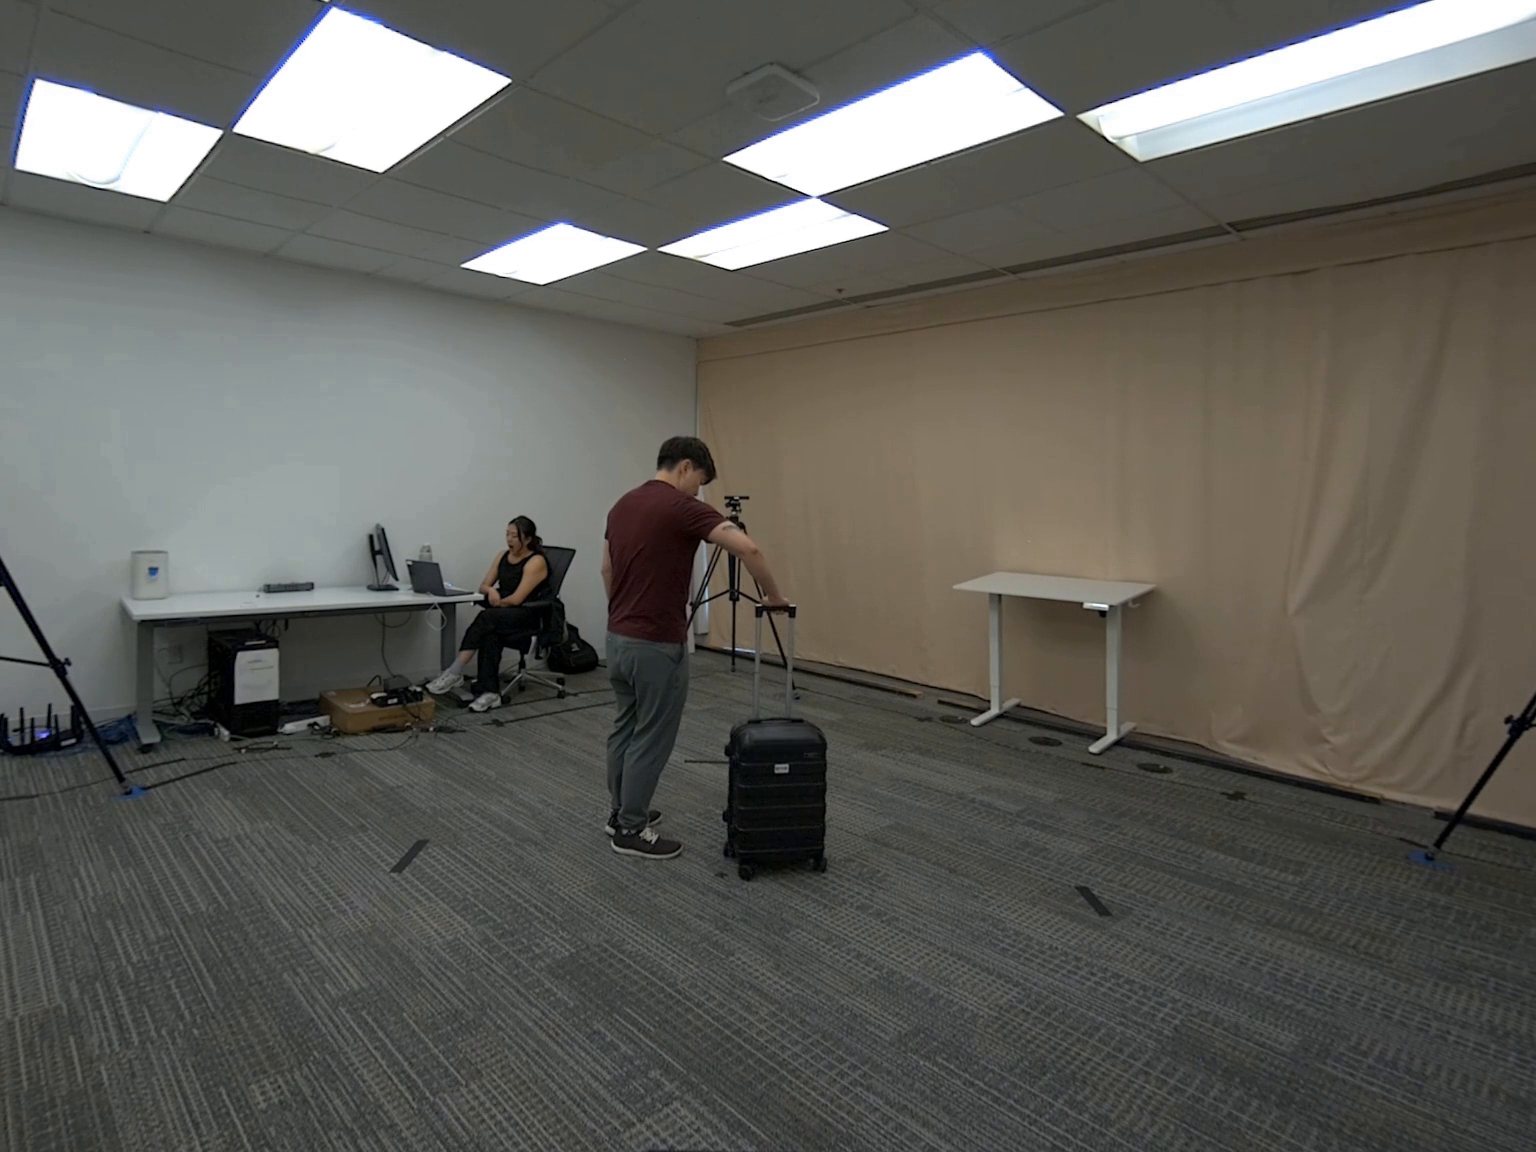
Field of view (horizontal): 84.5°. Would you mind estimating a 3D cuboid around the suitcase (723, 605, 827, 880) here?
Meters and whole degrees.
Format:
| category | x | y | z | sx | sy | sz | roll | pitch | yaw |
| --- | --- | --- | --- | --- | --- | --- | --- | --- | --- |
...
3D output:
| category | x | y | z | sx | sy | sz | roll | pitch | yaw |
| --- | --- | --- | --- | --- | --- | --- | --- | --- | --- |
| suitcase | 0.031 | 0.626 | 3.175 | 0.381 | 0.975 | 0.260 | 0 | 5 | -9 |
